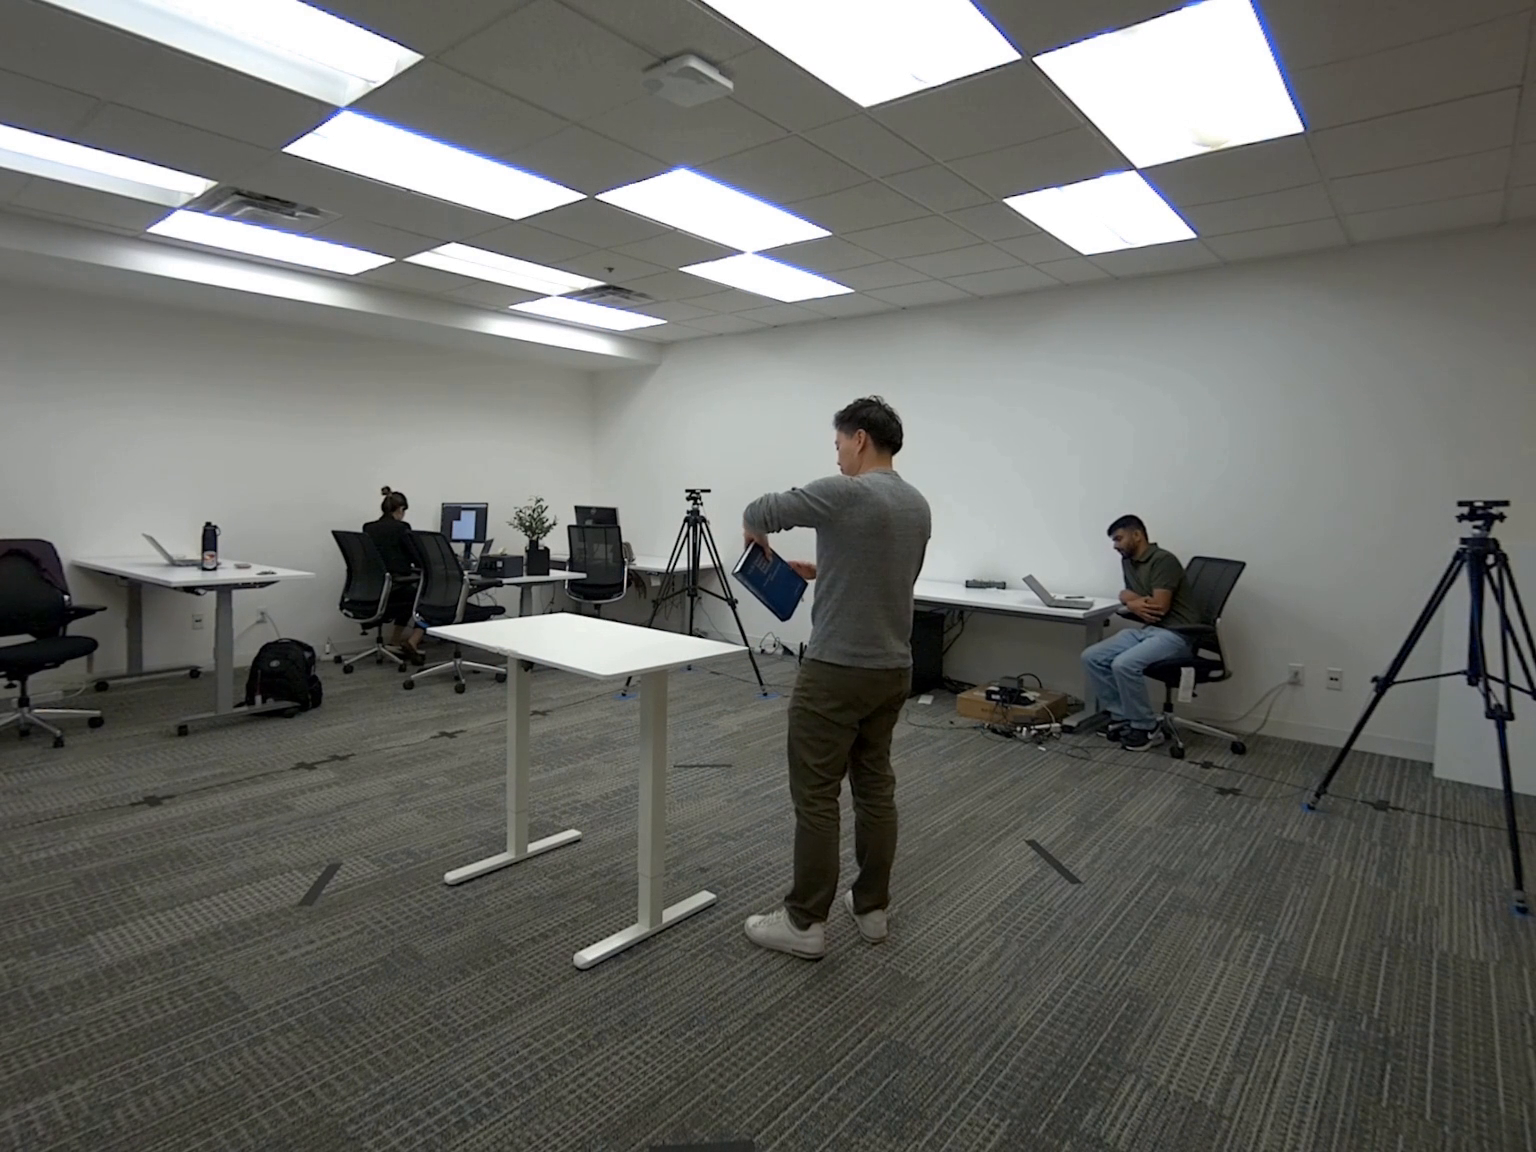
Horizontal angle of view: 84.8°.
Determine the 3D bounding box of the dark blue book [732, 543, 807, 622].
[{"bbox_3d":[0.000,0.009,2.802,0.241,0.164,0.046,42,-31,-13],"label":"dark blue book"}]
